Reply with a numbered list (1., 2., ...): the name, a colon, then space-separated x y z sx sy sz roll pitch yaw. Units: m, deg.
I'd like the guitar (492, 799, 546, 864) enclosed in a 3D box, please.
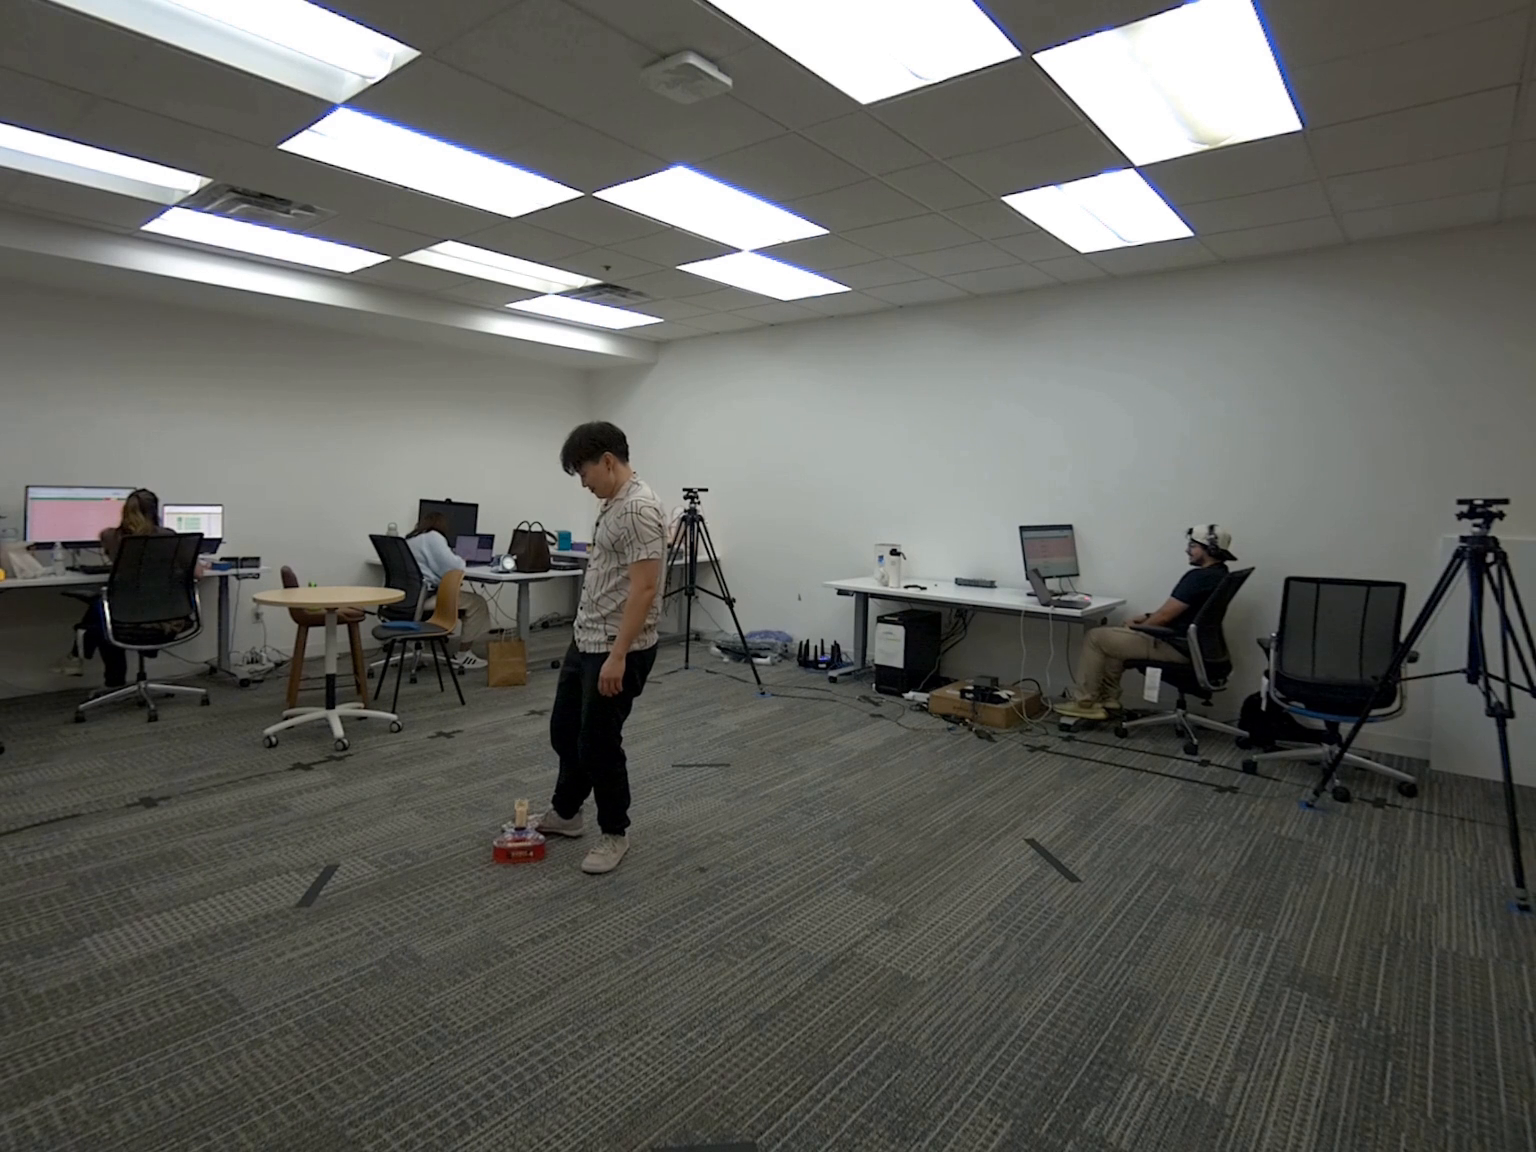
1. guitar: -0.965 0.998 3.378 0.192 0.070 0.502 0 6 -6
